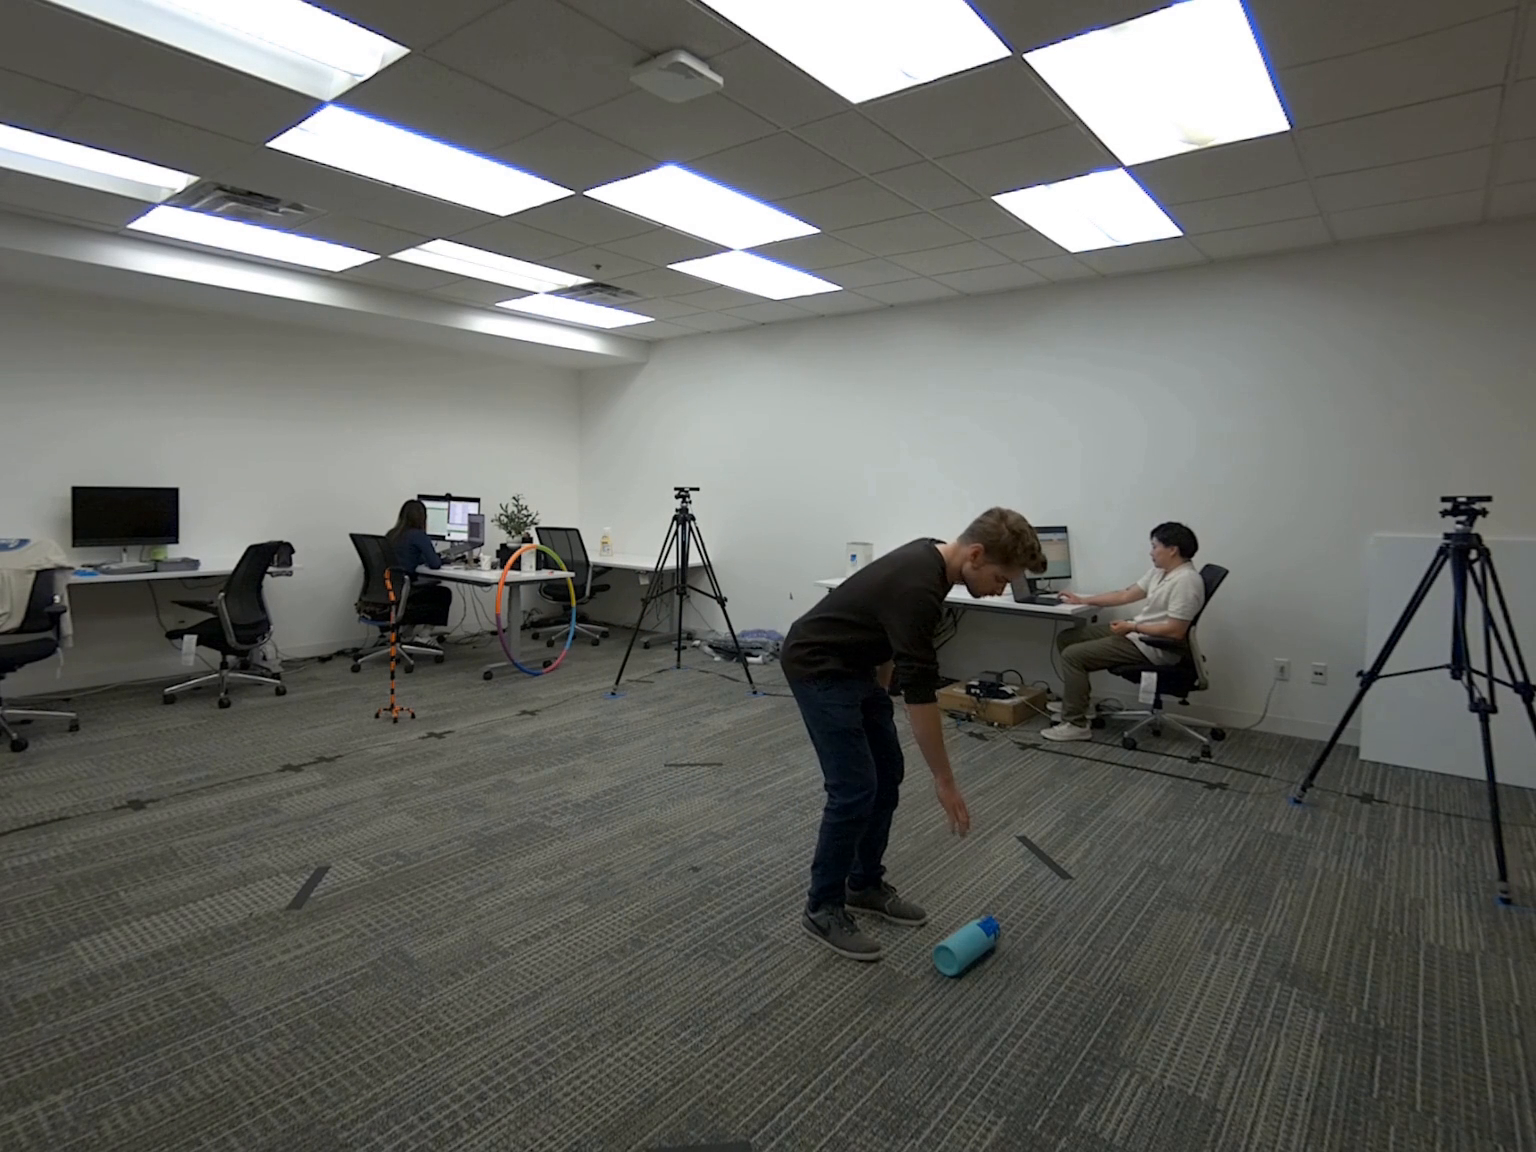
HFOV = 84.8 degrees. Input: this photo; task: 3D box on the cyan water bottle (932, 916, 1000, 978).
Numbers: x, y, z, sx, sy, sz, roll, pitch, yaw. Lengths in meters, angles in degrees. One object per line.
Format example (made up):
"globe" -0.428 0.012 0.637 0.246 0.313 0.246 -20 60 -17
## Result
"cyan water bottle" 0.597 1.092 2.546 0.095 0.092 0.275 5 6 44
